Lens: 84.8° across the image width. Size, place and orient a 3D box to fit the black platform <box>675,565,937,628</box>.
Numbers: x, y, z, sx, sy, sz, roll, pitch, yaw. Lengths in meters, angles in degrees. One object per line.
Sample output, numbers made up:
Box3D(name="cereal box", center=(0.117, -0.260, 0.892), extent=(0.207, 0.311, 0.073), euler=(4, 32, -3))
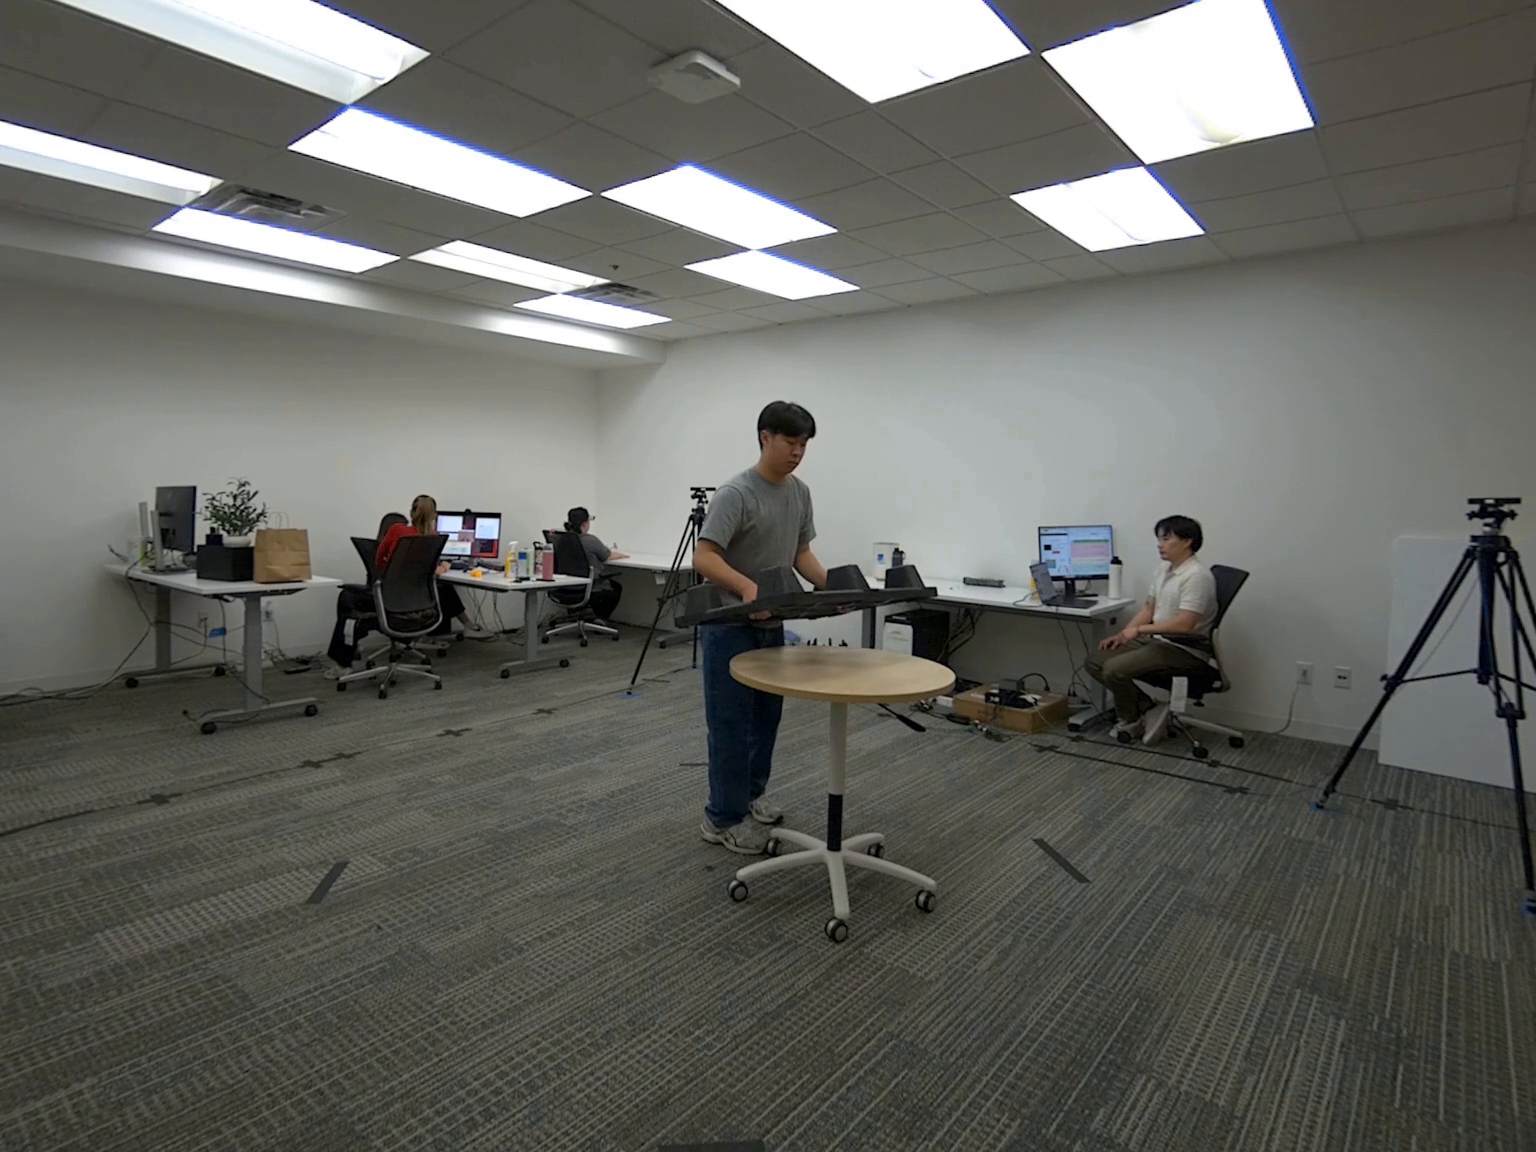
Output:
Box3D(name="black platform", center=(0.129, 0.072, 3.104), extent=(0.780, 0.145, 0.619), euler=(-1, -10, -44))
